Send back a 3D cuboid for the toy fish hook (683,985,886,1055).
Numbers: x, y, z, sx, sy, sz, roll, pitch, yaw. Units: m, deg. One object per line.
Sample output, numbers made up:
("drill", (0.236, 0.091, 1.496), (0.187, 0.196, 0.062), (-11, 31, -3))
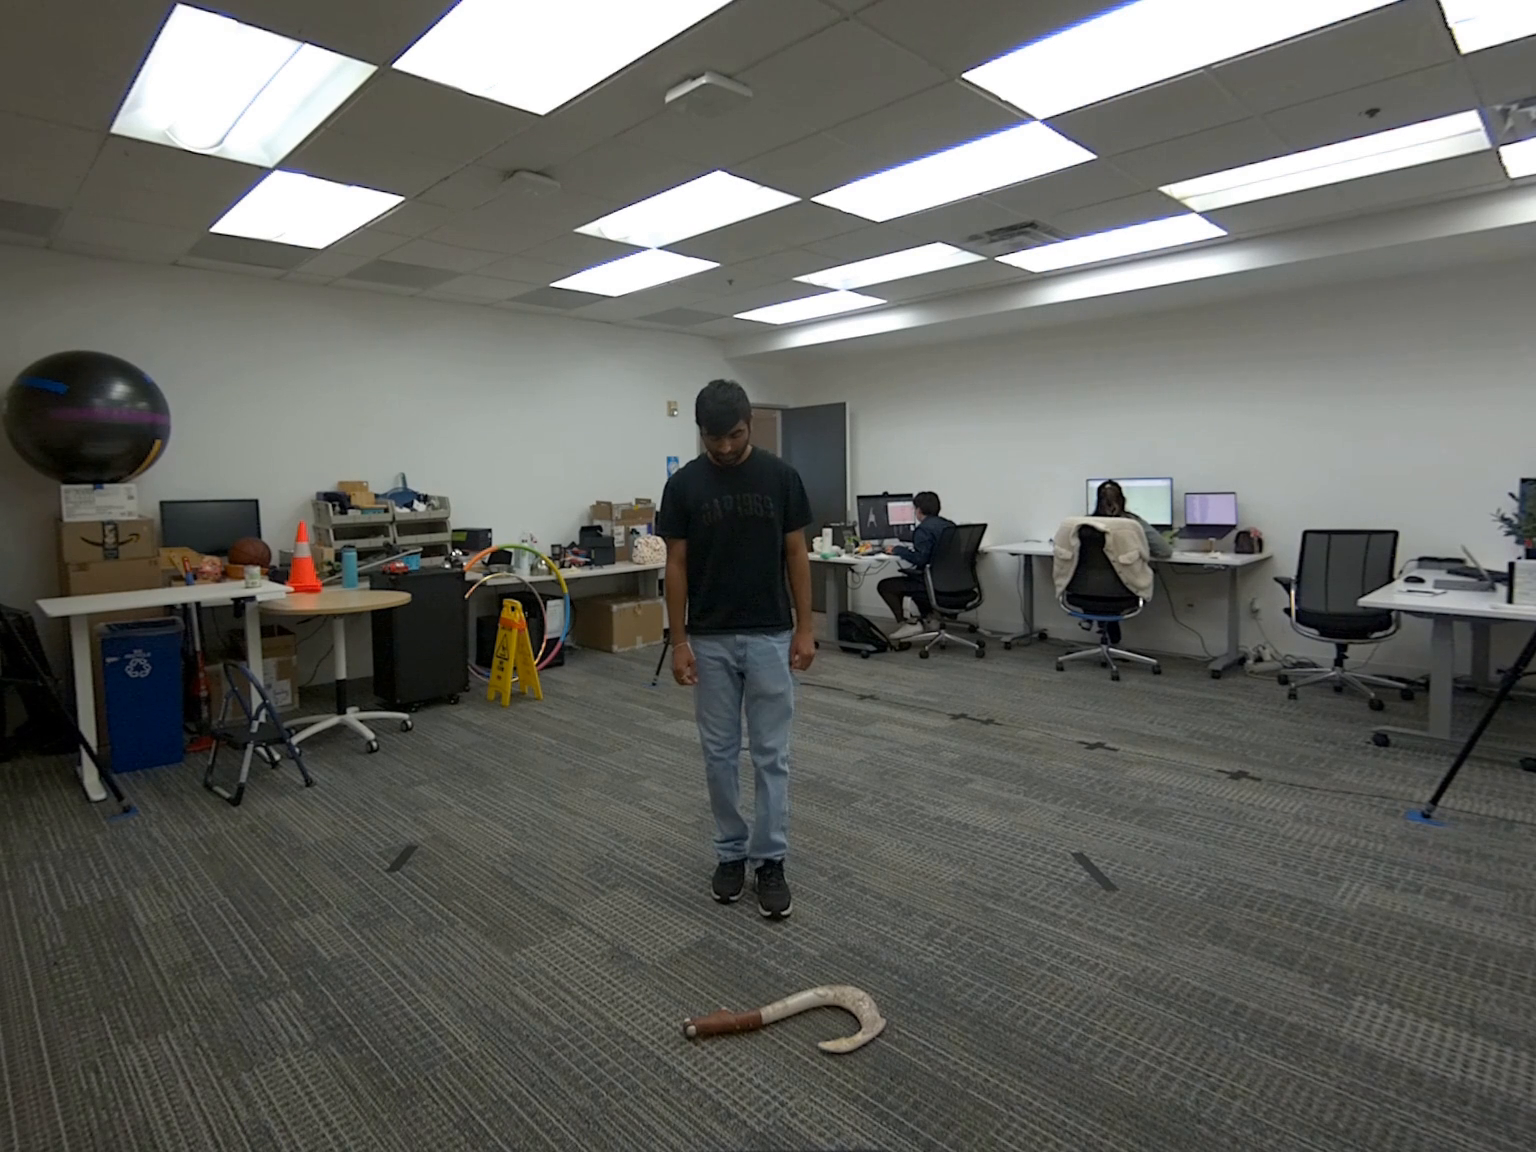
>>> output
("toy fish hook", (0.053, 1.134, 2.150), (0.500, 0.048, 0.228), (-4, 6, -15))
